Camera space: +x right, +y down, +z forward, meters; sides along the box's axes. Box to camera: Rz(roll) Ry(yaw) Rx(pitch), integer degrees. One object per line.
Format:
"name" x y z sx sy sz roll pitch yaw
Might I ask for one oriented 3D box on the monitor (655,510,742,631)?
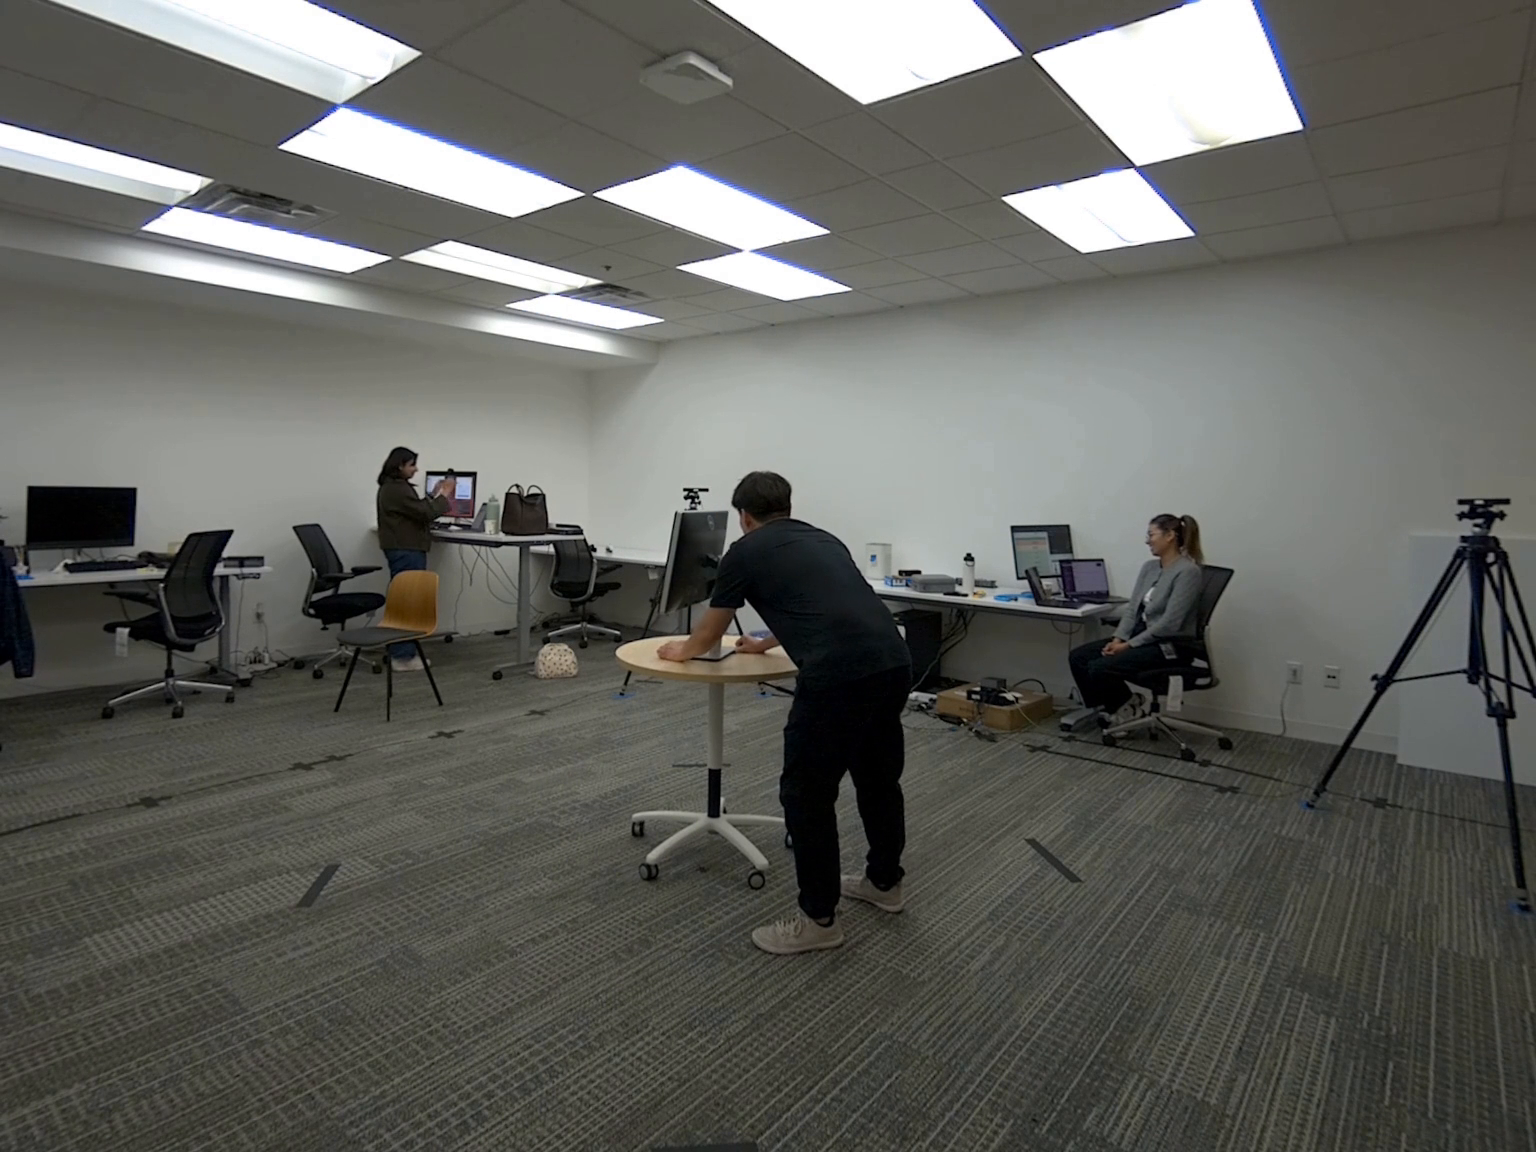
"monitor" -0.241 0.025 3.178 0.189 0.522 0.534 -2 3 10
